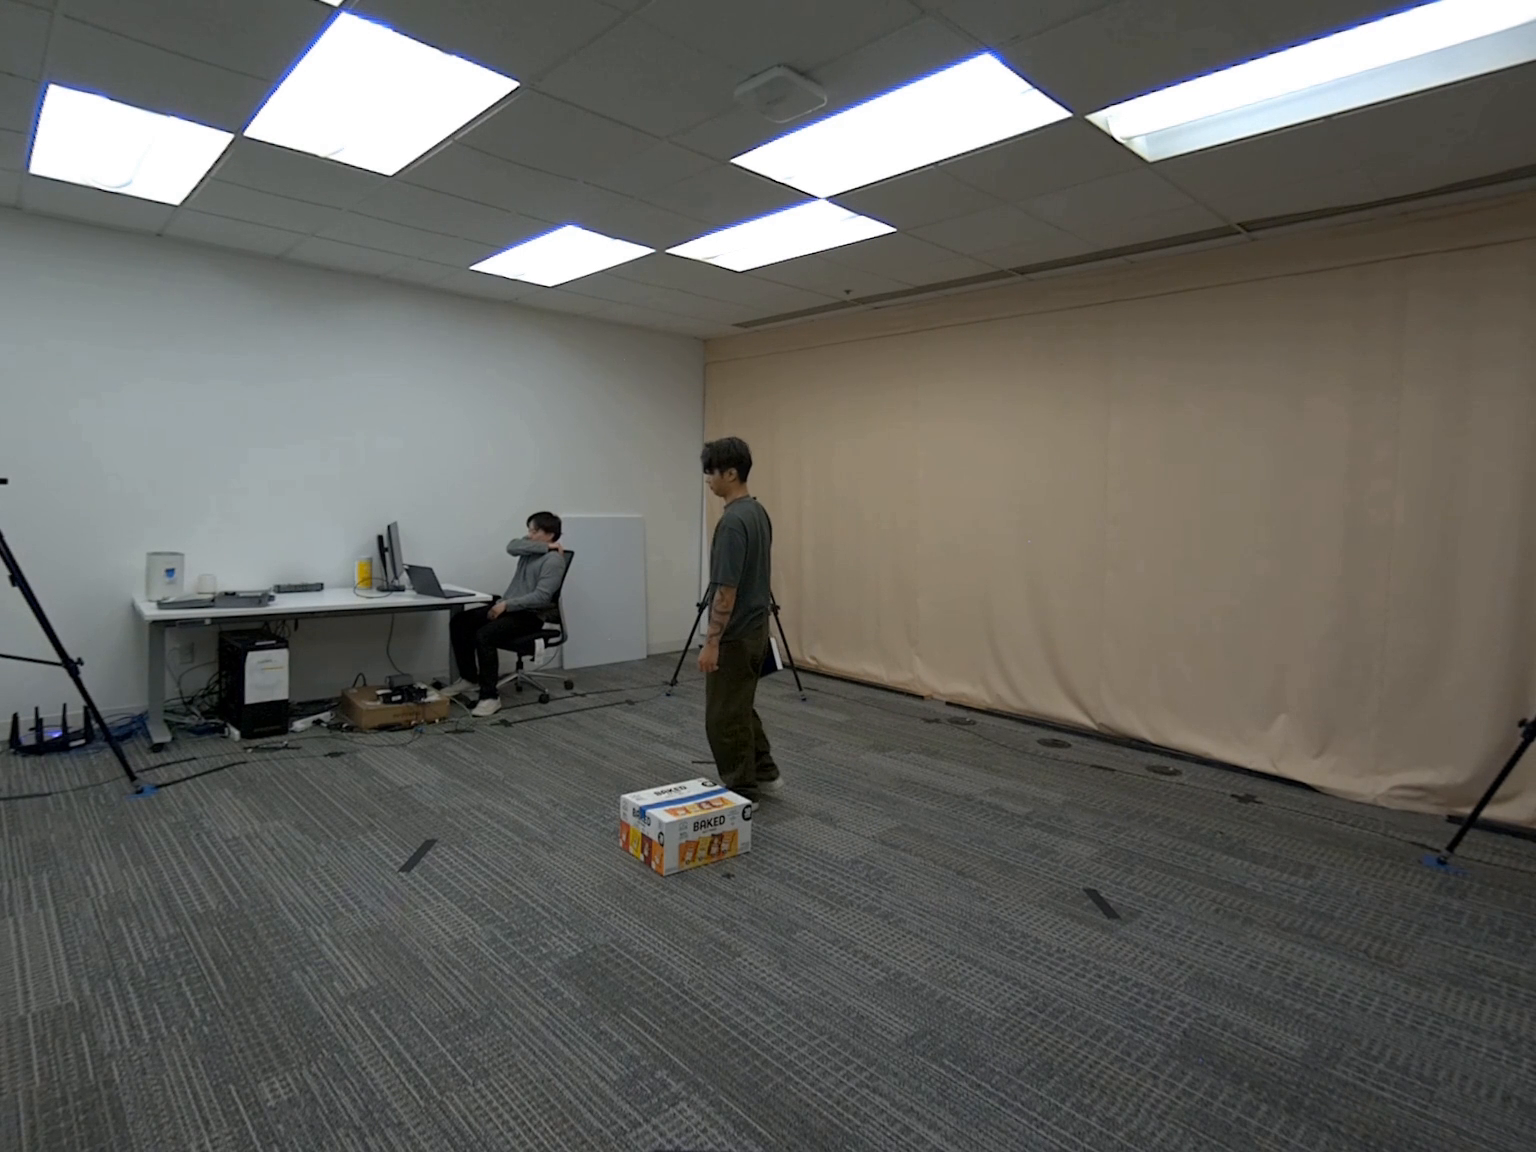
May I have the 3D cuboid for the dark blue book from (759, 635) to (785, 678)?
[{"bbox_3d":[-0.049,0.398,4.008,0.044,0.166,0.247,3,-22,-43],"label":"dark blue book"}]
